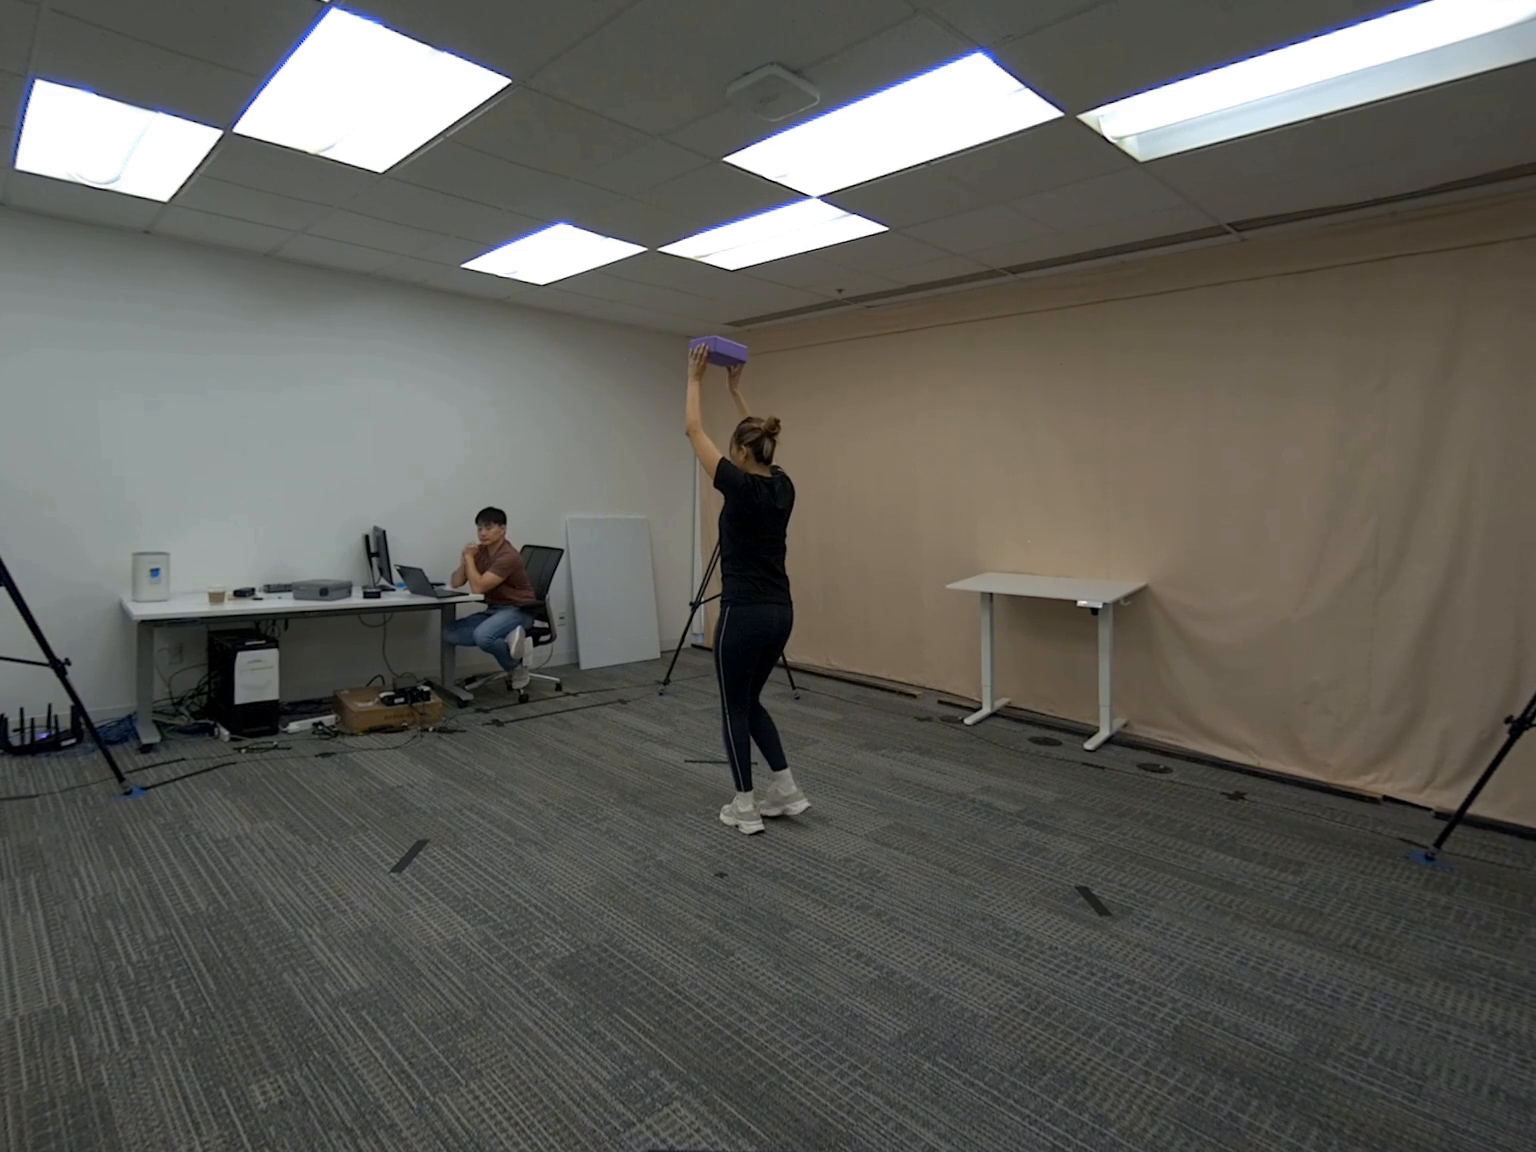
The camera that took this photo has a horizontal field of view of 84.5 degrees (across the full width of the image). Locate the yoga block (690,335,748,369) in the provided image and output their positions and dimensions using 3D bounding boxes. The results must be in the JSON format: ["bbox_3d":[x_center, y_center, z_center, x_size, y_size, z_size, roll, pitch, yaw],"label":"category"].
[{"bbox_3d":[-0.224,-0.973,3.648,0.152,0.076,0.224,2,1,37],"label":"yoga block"}]
